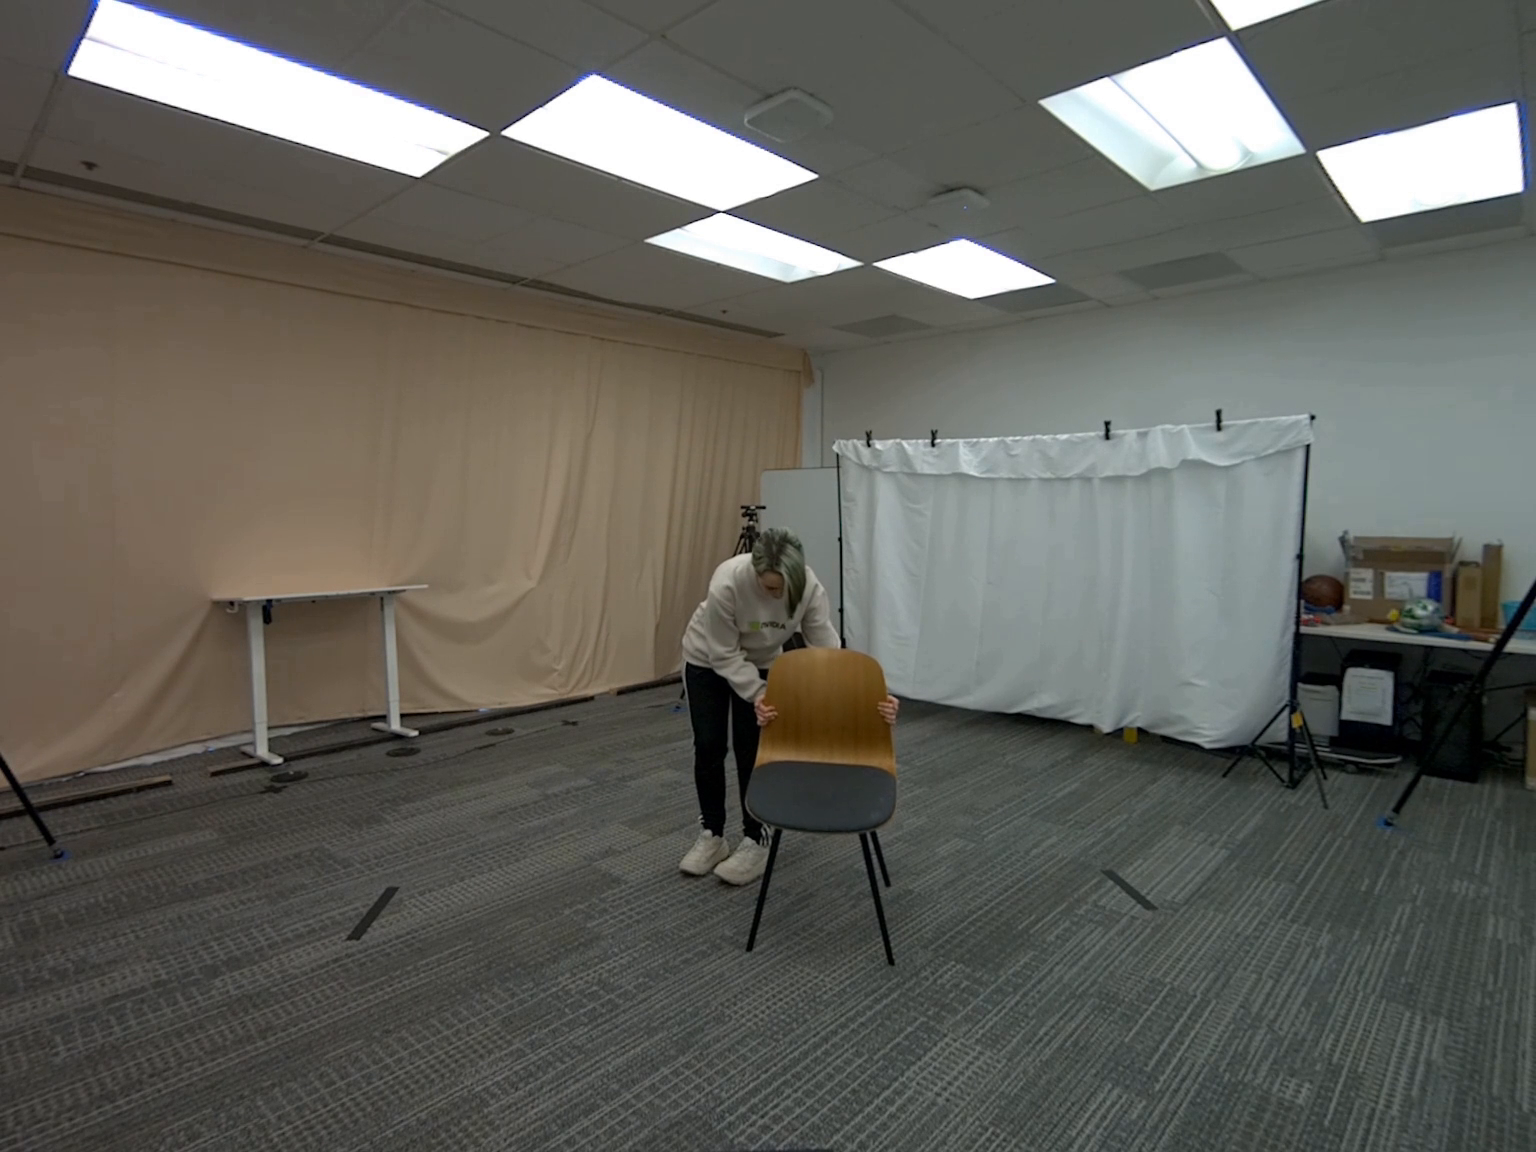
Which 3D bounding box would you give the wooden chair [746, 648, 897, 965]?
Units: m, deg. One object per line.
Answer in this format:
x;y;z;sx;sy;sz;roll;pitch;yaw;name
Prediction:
0.185;0.716;2.722;0.484;0.874;0.519;1;5;10;wooden chair
